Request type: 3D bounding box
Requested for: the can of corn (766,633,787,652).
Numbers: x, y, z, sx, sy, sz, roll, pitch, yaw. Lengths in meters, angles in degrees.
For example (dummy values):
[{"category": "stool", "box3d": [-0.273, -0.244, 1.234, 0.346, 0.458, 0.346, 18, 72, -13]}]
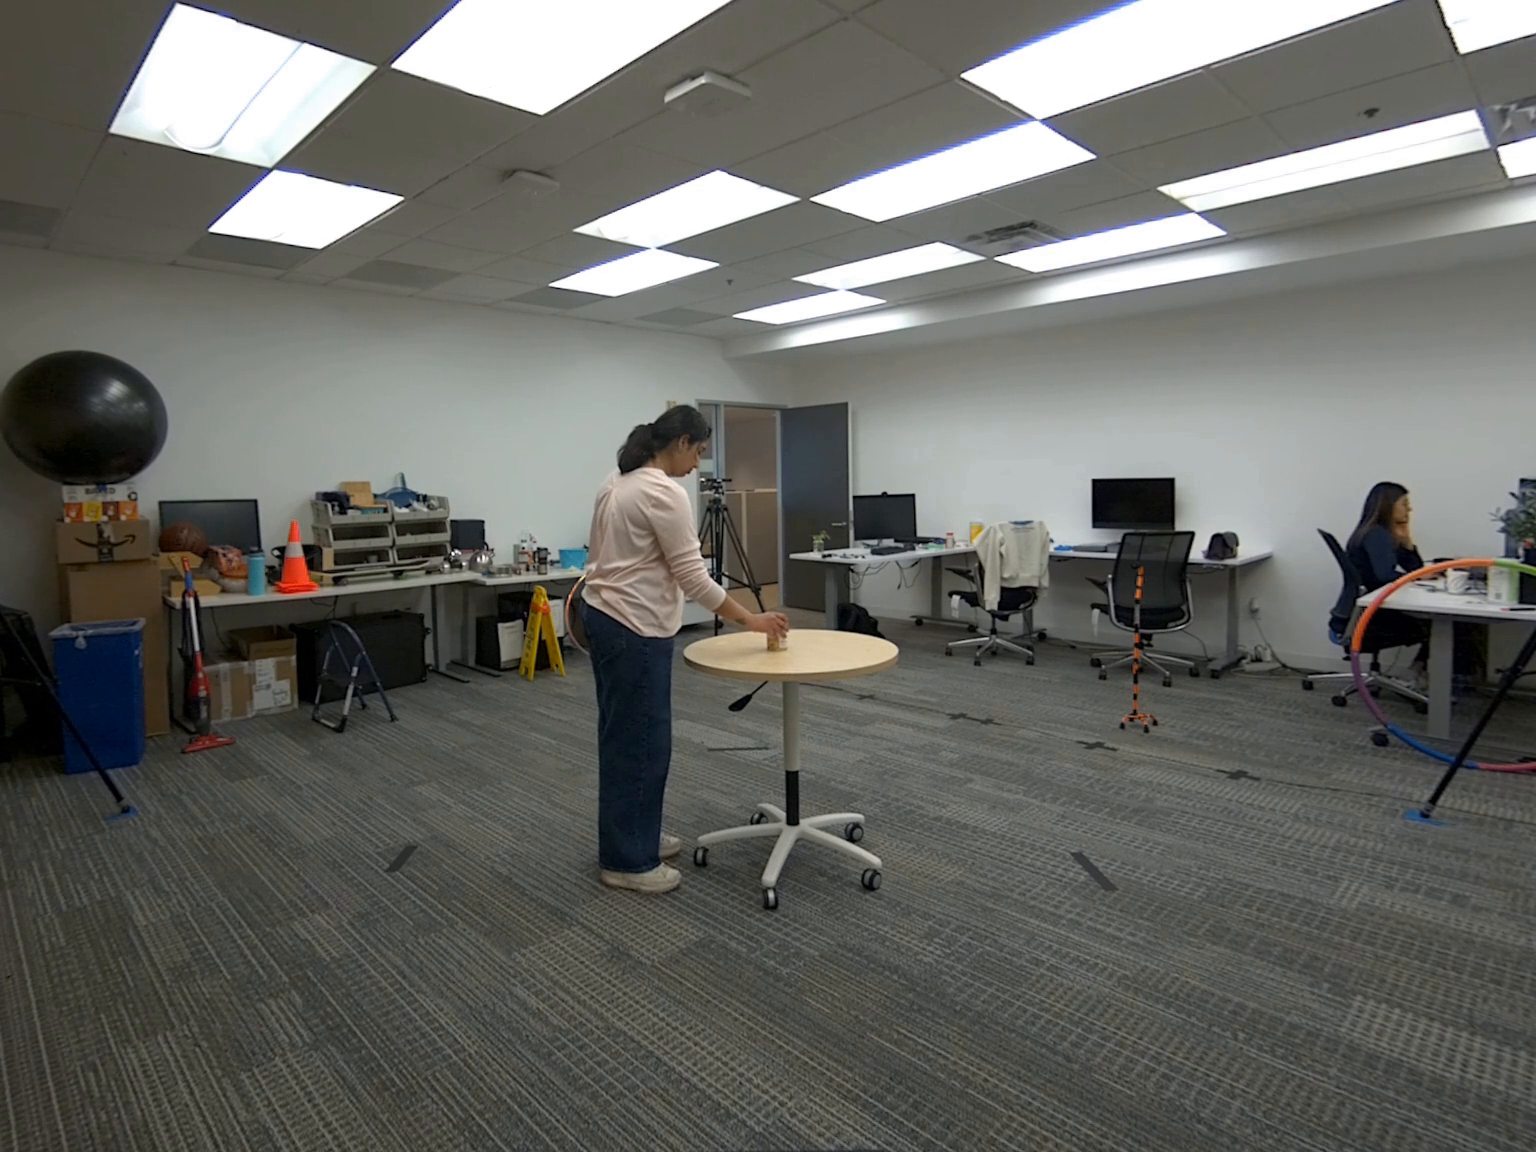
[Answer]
[{"category": "can of corn", "box3d": [0.030, 0.206, 3.066, 0.074, 0.111, 0.074, -5, 3, -1]}]
